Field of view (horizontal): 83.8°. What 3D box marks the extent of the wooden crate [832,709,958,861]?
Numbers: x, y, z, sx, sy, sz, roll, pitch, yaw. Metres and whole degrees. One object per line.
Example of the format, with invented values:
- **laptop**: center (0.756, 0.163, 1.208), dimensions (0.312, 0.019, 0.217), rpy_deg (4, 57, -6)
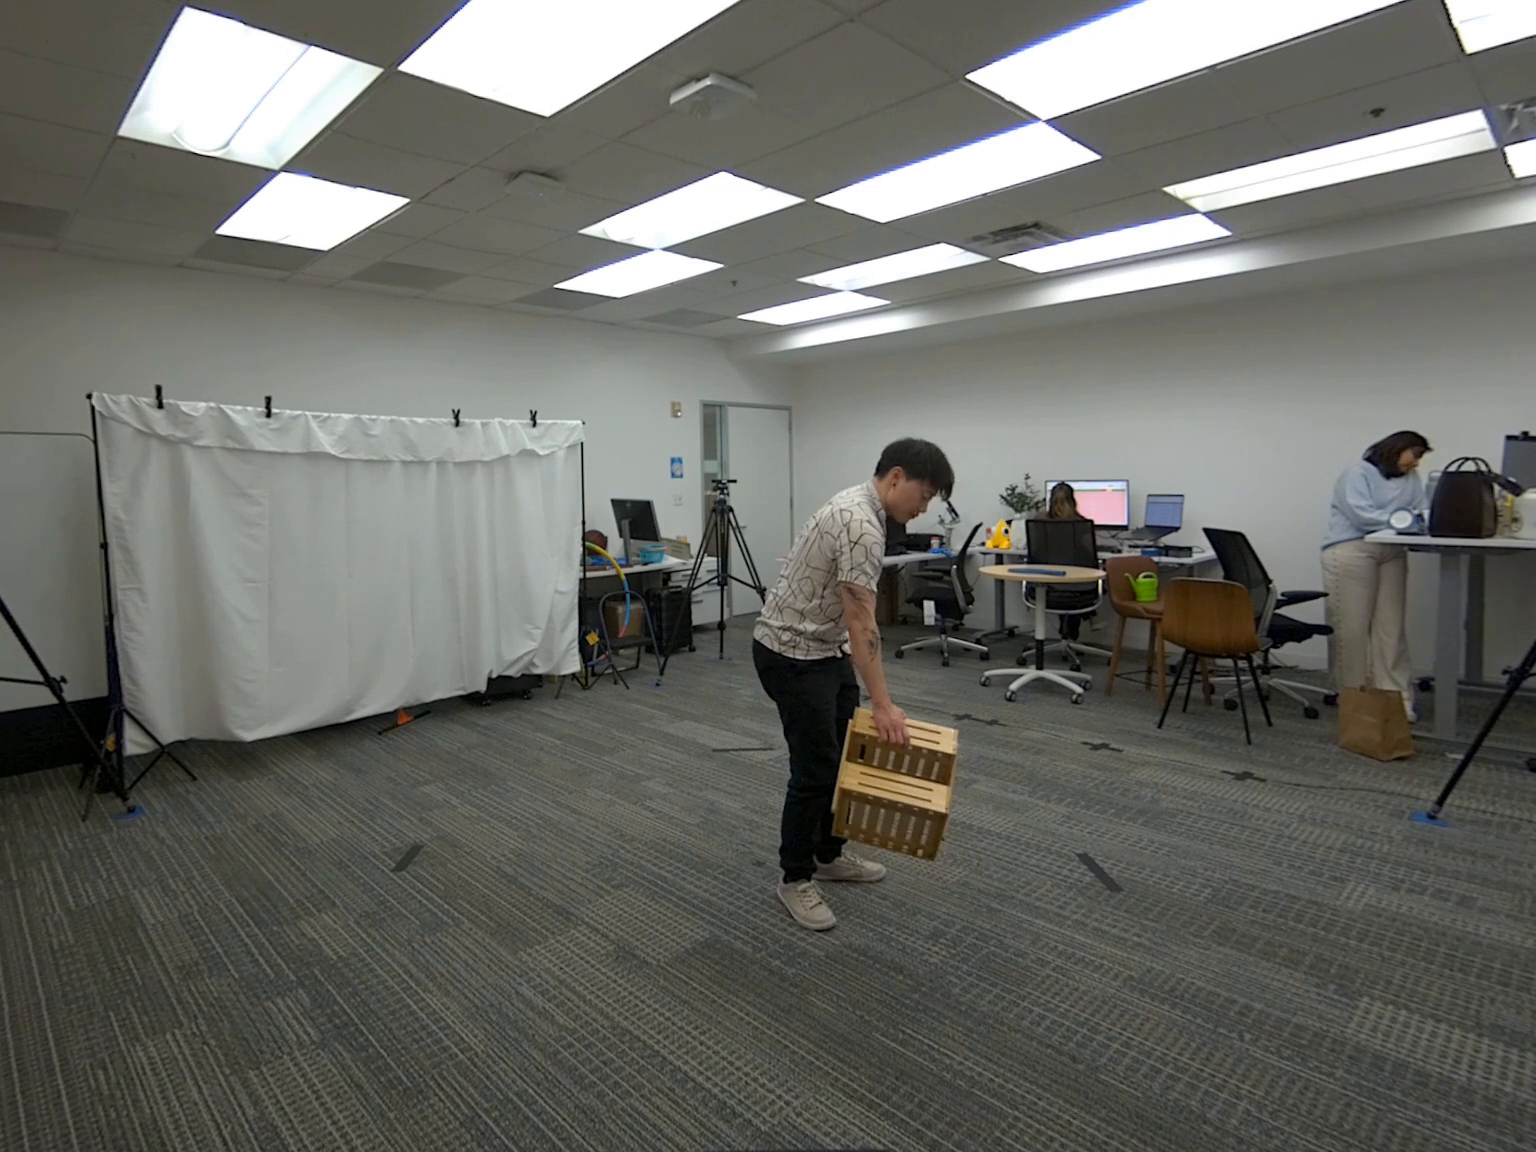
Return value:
- **wooden crate**: center (0.372, 0.620, 2.524), dimensions (0.328, 0.294, 0.277), rpy_deg (12, 39, 9)
